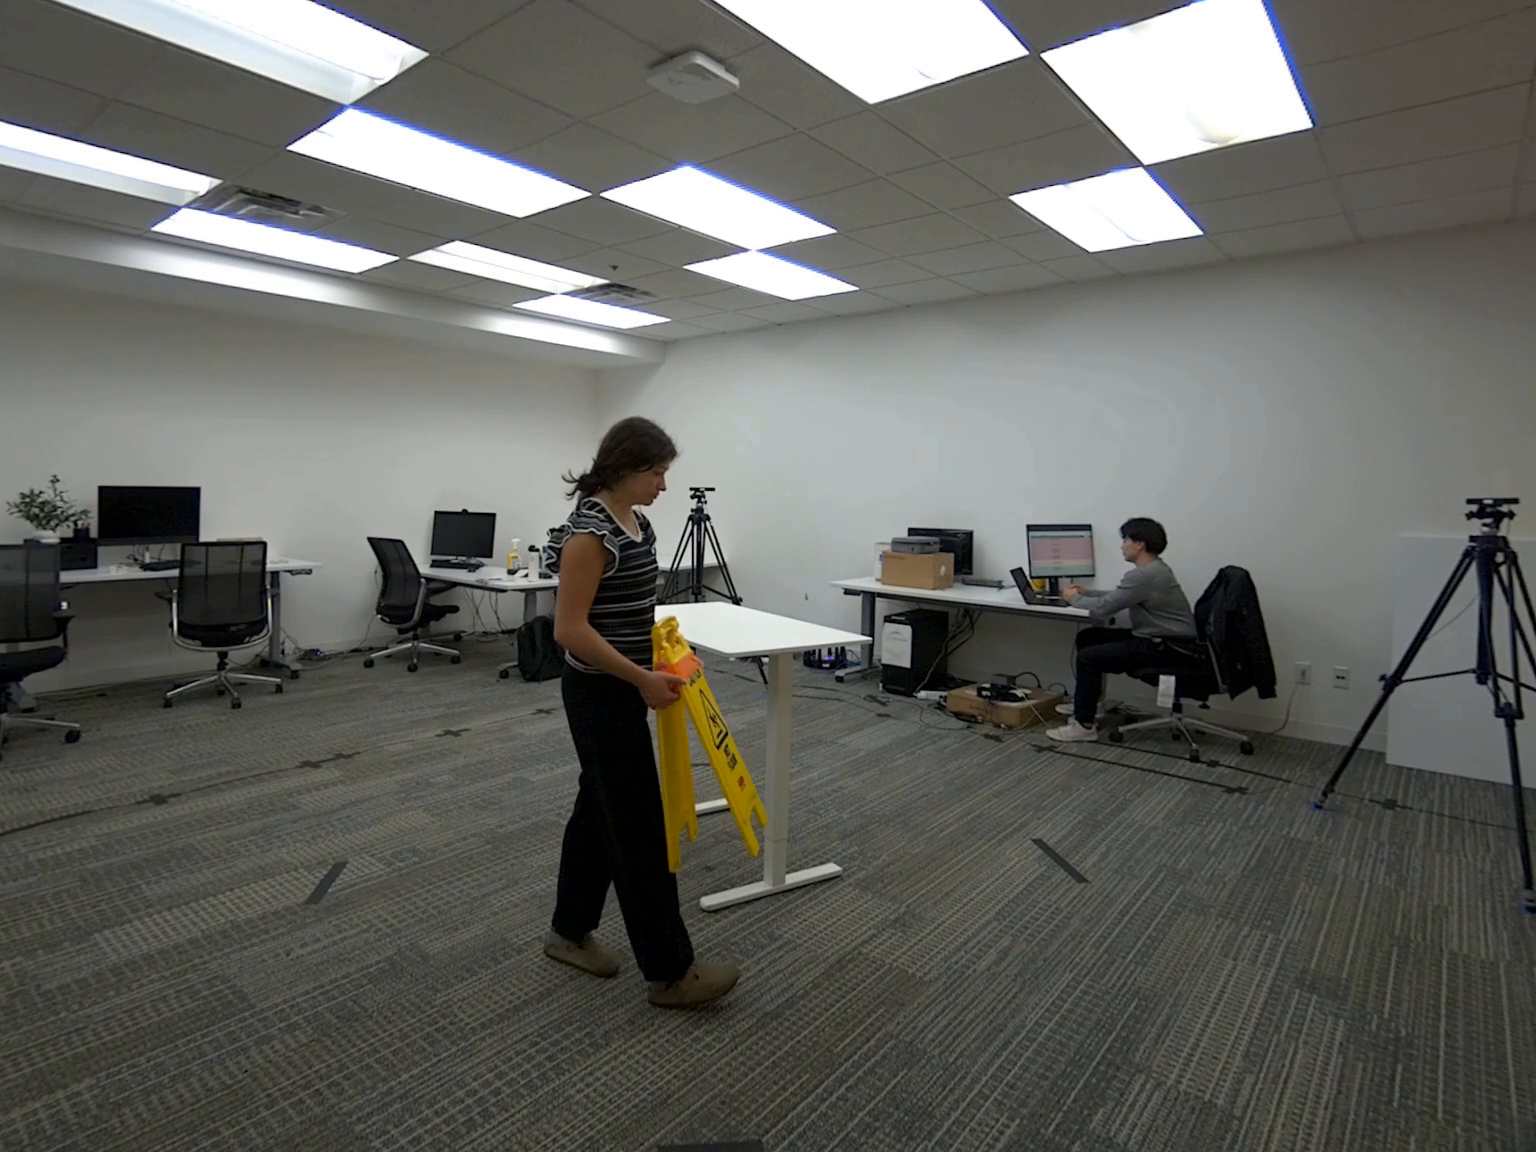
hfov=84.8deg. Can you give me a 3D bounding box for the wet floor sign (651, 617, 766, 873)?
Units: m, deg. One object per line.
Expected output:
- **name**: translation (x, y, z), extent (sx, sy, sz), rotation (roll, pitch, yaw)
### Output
- **wet floor sign**: translation (-0.224, 0.441, 2.364), extent (0.292, 0.644, 0.281), rotation (-13, 3, 8)
